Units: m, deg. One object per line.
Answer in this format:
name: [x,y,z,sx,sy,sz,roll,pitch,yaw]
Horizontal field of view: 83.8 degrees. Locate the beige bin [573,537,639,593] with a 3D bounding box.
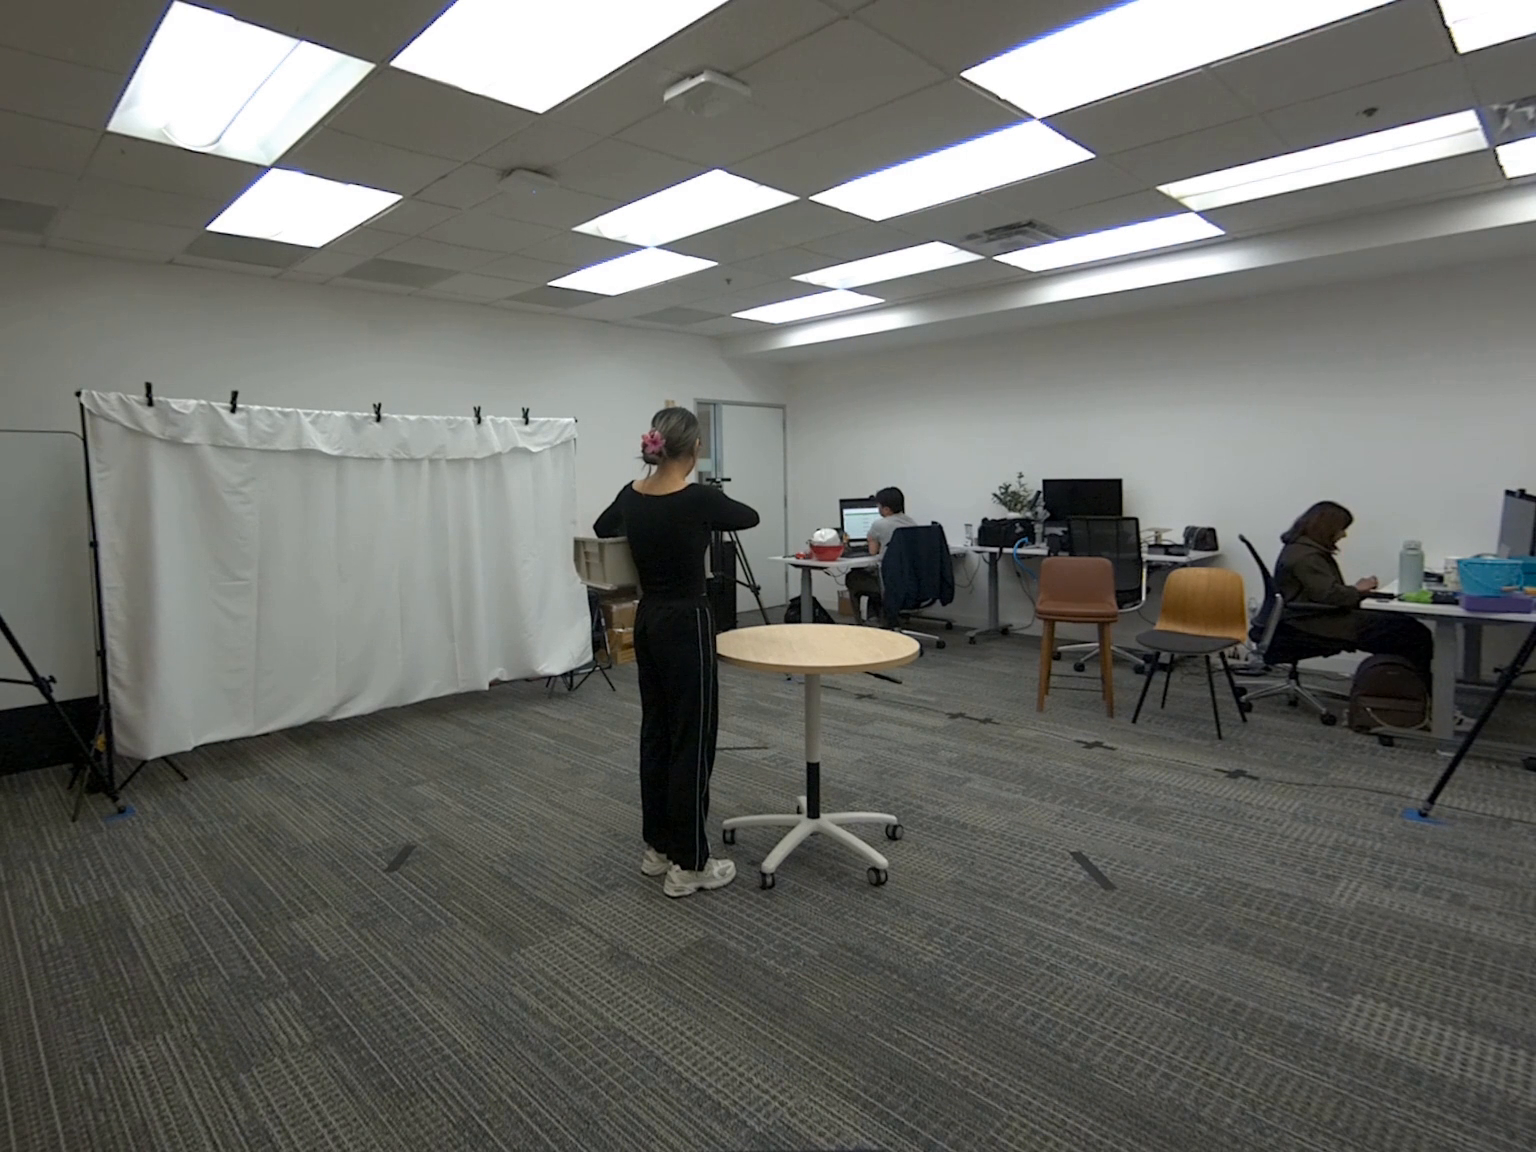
beige bin: [-0.470,-0.072,3.209,0.413,0.188,0.388,-8,8,-28]
